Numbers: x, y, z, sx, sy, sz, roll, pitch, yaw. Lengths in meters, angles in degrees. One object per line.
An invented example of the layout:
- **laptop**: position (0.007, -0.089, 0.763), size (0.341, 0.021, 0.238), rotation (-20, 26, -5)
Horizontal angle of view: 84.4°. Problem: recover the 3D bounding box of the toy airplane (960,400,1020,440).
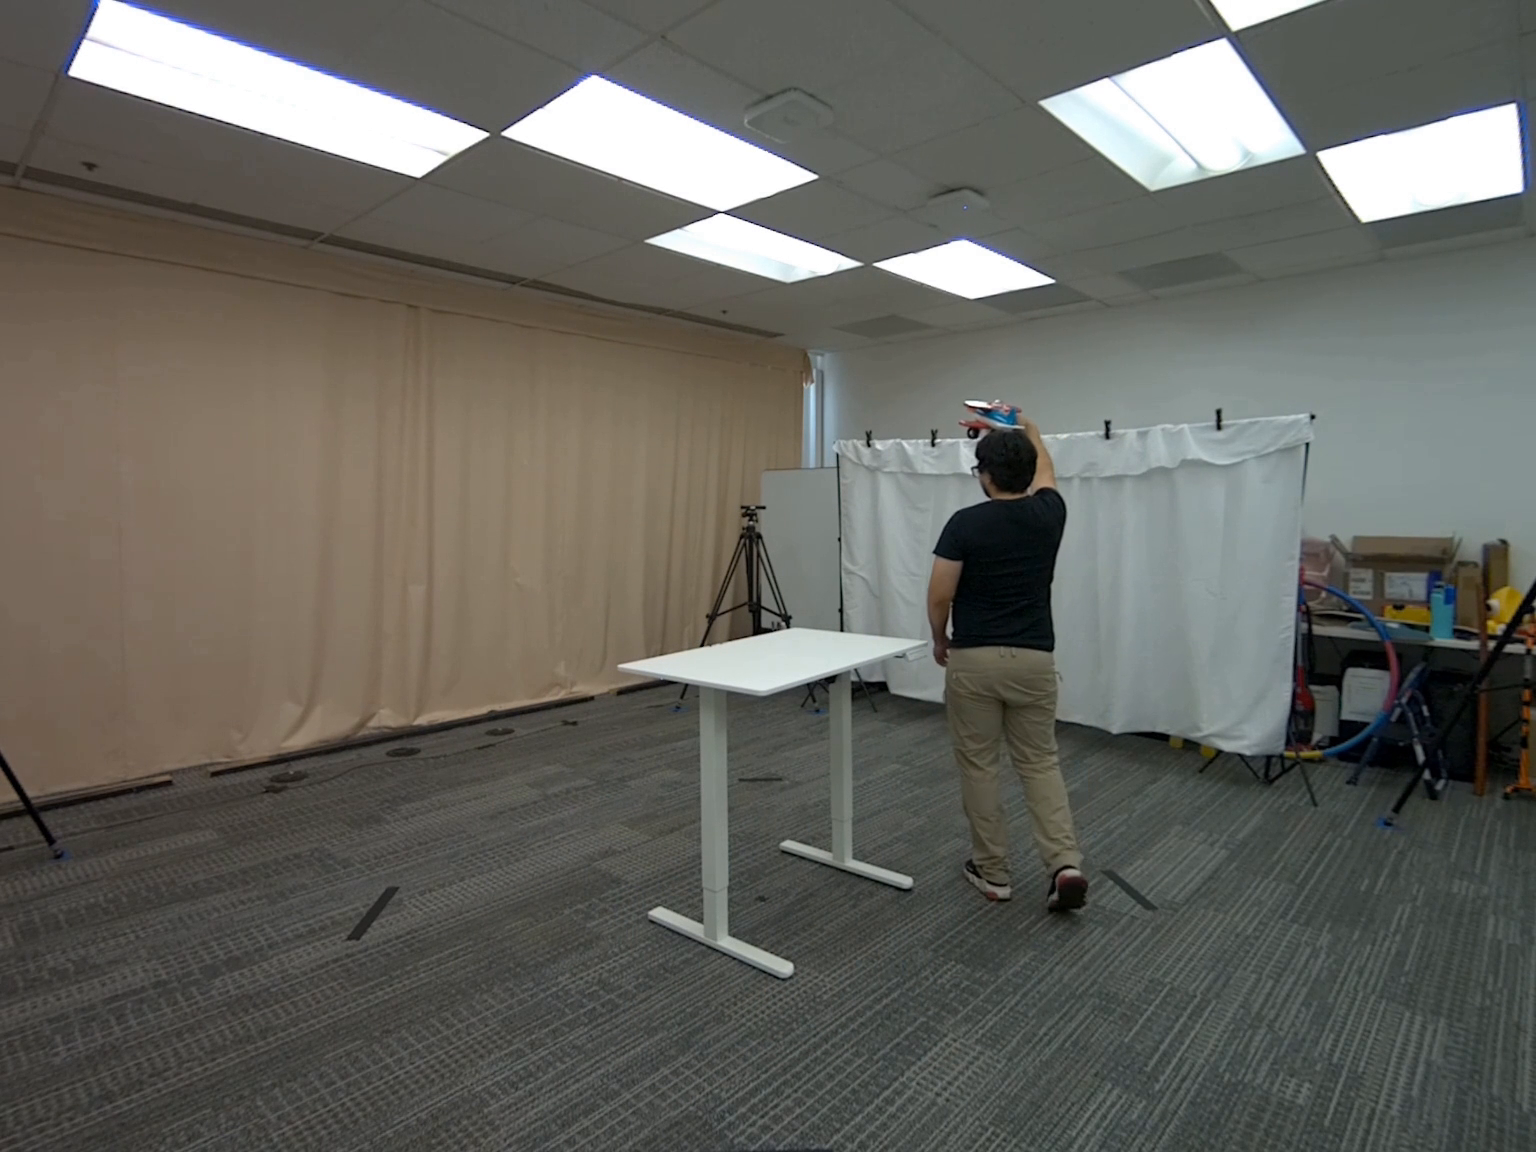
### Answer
- **toy airplane**: position (0.959, -0.633, 3.464), size (0.243, 0.156, 0.268), rotation (-5, 12, -45)
